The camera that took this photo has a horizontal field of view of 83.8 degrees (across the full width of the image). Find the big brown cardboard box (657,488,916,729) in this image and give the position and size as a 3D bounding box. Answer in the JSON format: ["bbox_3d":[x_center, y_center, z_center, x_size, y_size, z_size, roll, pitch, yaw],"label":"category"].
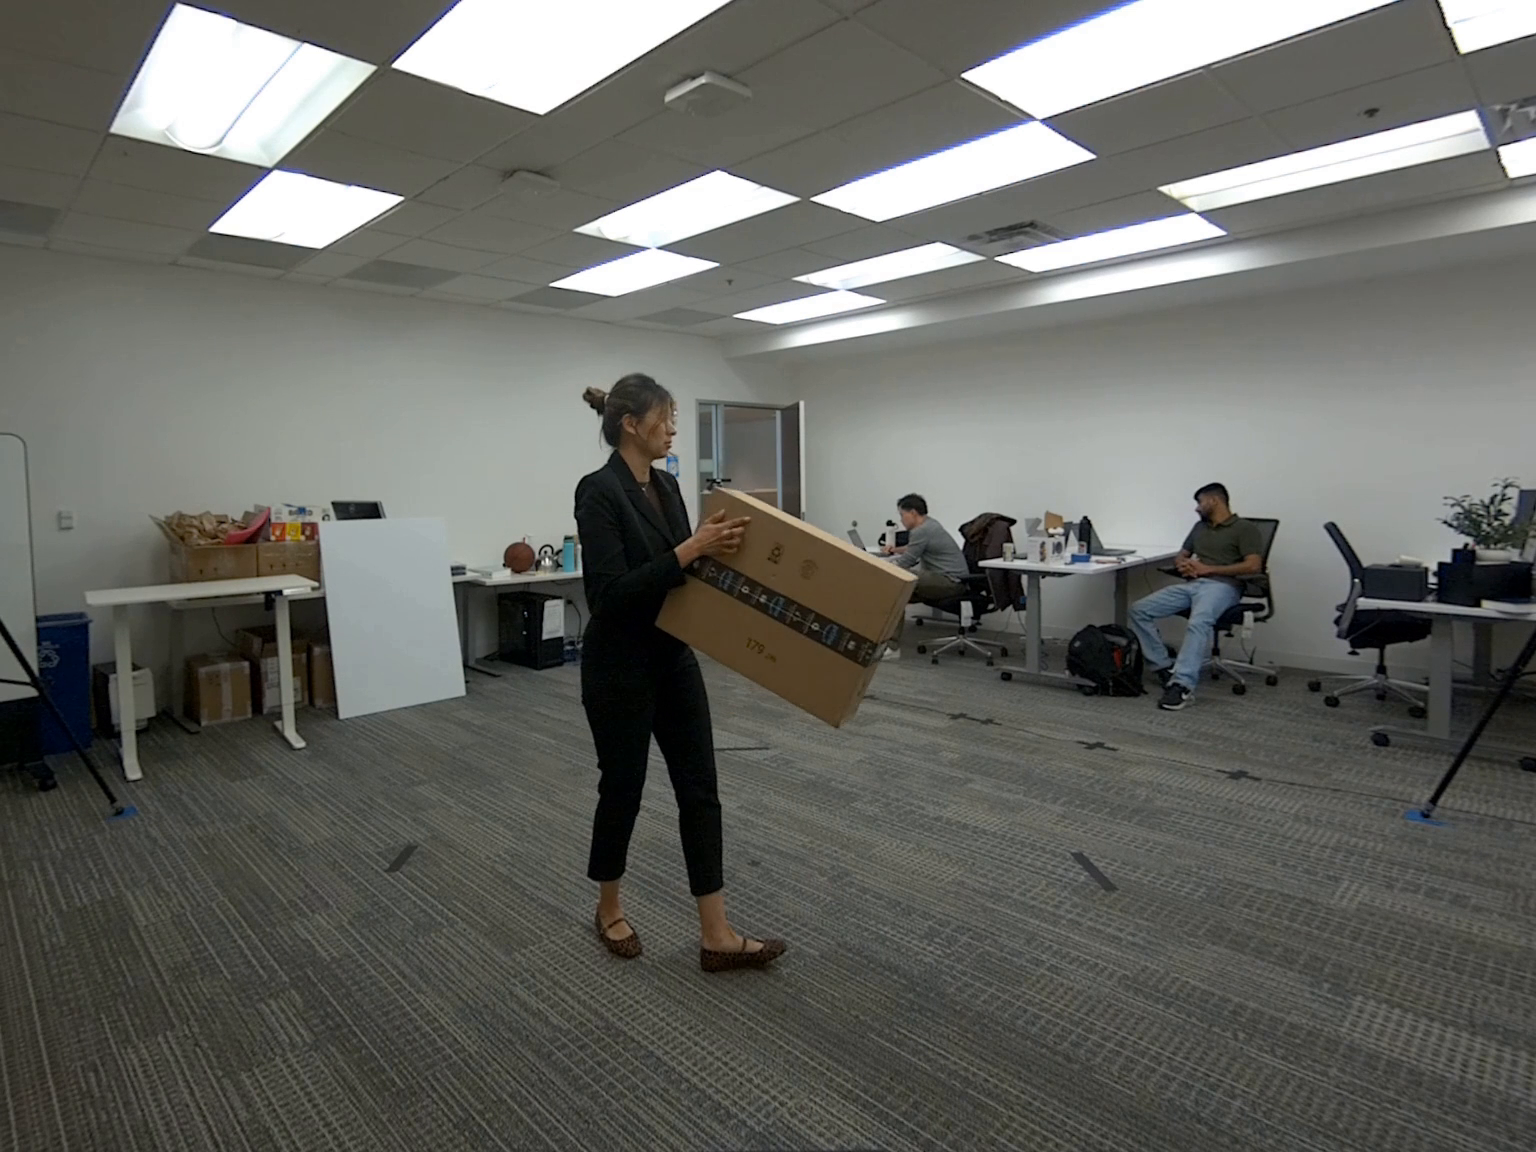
[{"bbox_3d":[0.051,0.070,2.298,0.602,0.416,0.229,28,9,17],"label":"big brown cardboard box"}]
